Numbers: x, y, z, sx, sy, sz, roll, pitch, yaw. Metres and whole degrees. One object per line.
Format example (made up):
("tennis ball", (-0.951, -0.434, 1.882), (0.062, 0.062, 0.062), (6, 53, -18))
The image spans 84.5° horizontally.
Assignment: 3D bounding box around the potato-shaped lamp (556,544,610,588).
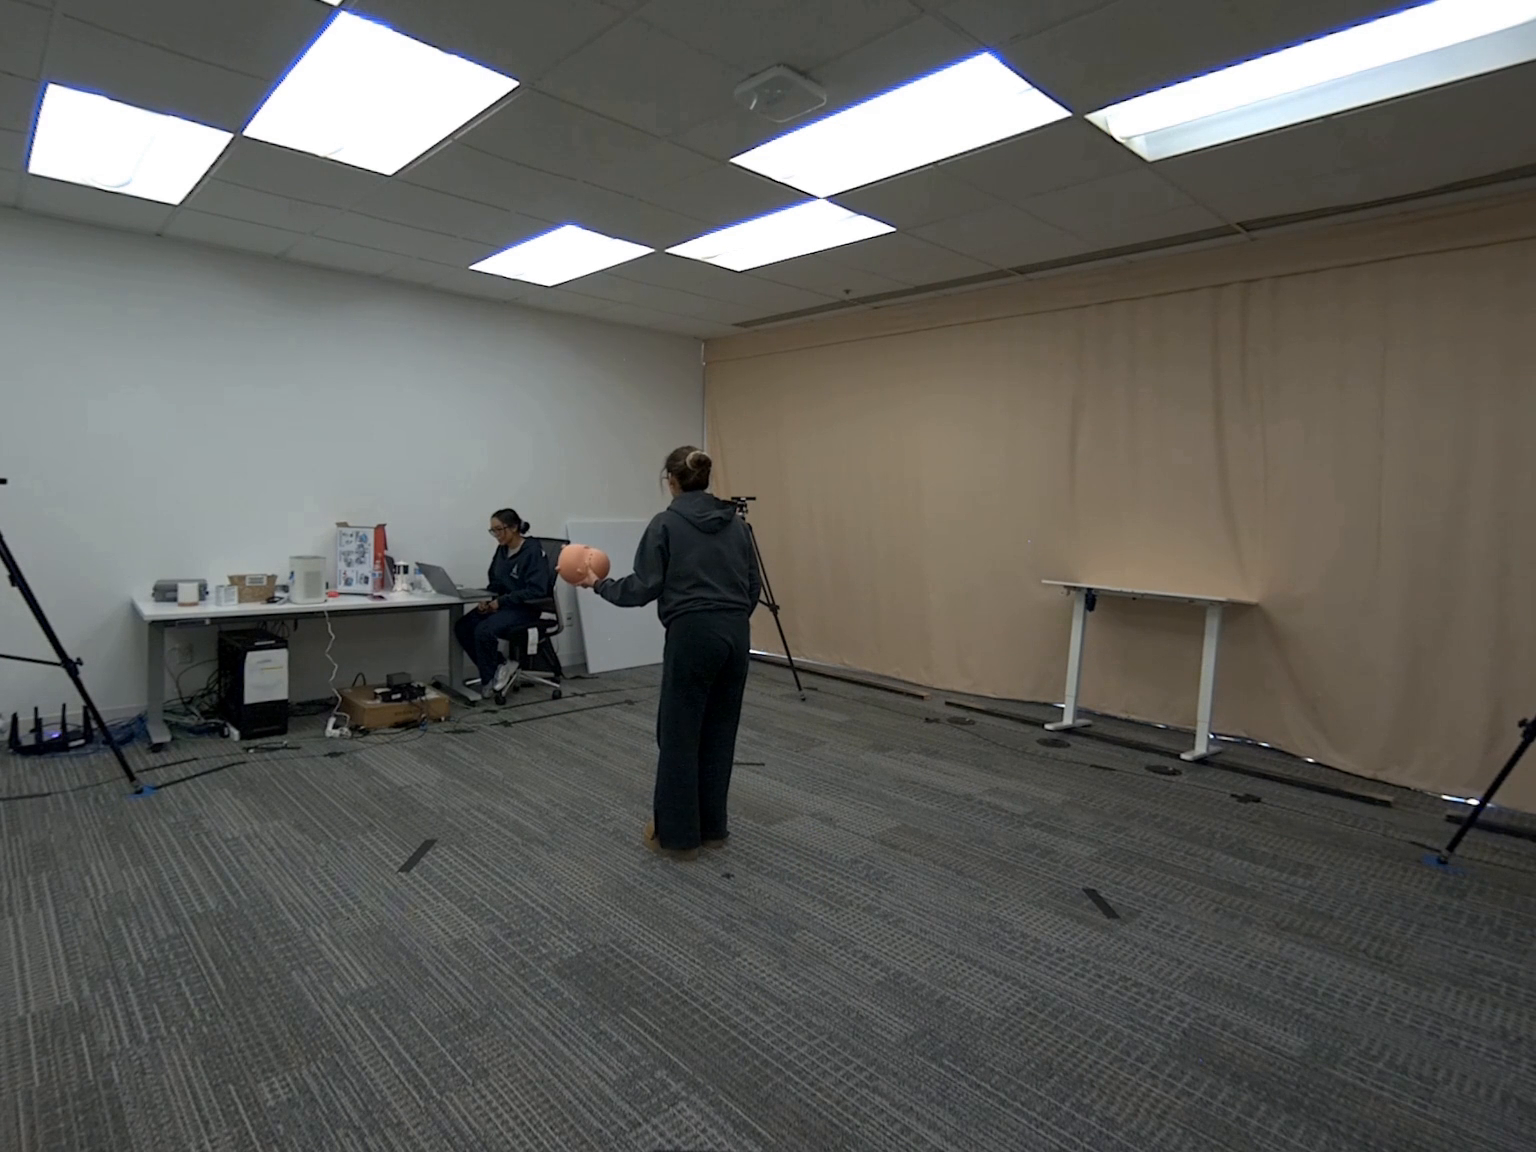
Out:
("potato-shaped lamp", (-0.750, -0.047, 3.434), (0.201, 0.167, 0.166), (2, -30, 17))
